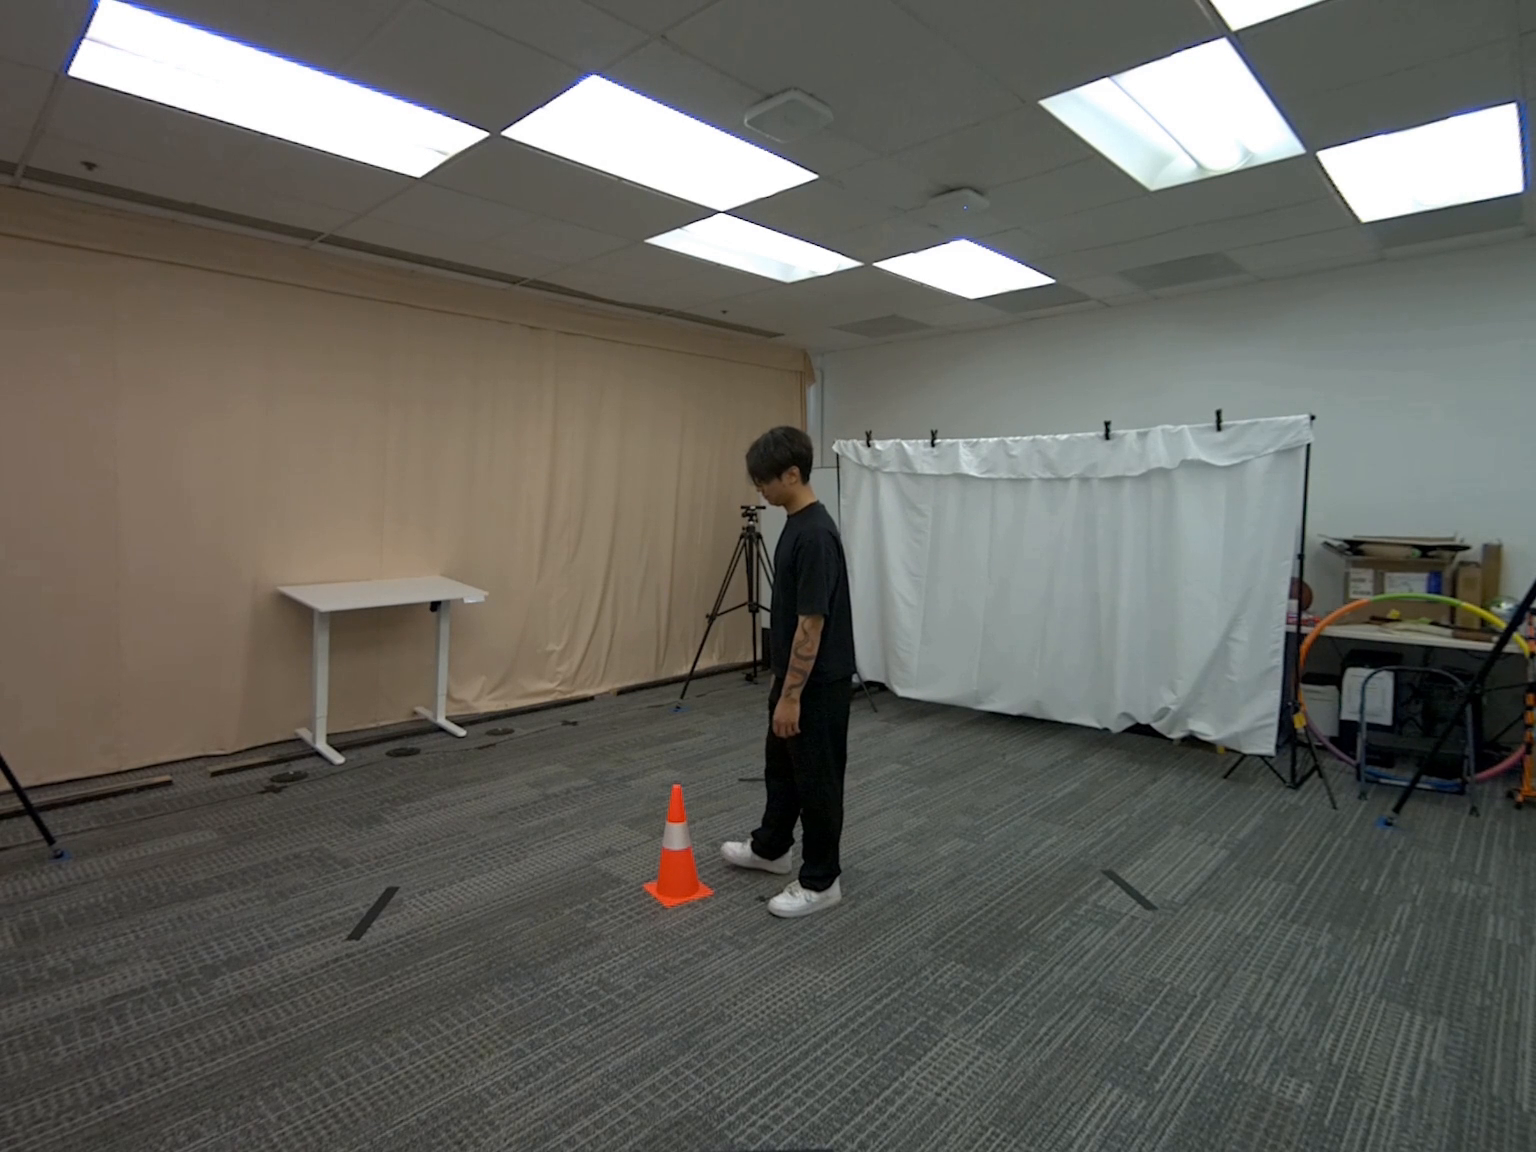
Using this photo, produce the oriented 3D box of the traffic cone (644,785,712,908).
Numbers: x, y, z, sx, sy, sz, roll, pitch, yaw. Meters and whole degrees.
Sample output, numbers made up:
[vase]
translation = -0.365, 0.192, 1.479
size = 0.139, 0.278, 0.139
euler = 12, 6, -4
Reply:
[traffic cone]
translation = -0.333, 0.961, 3.053
size = 0.197, 0.383, 0.211
euler = -4, 2, -36
